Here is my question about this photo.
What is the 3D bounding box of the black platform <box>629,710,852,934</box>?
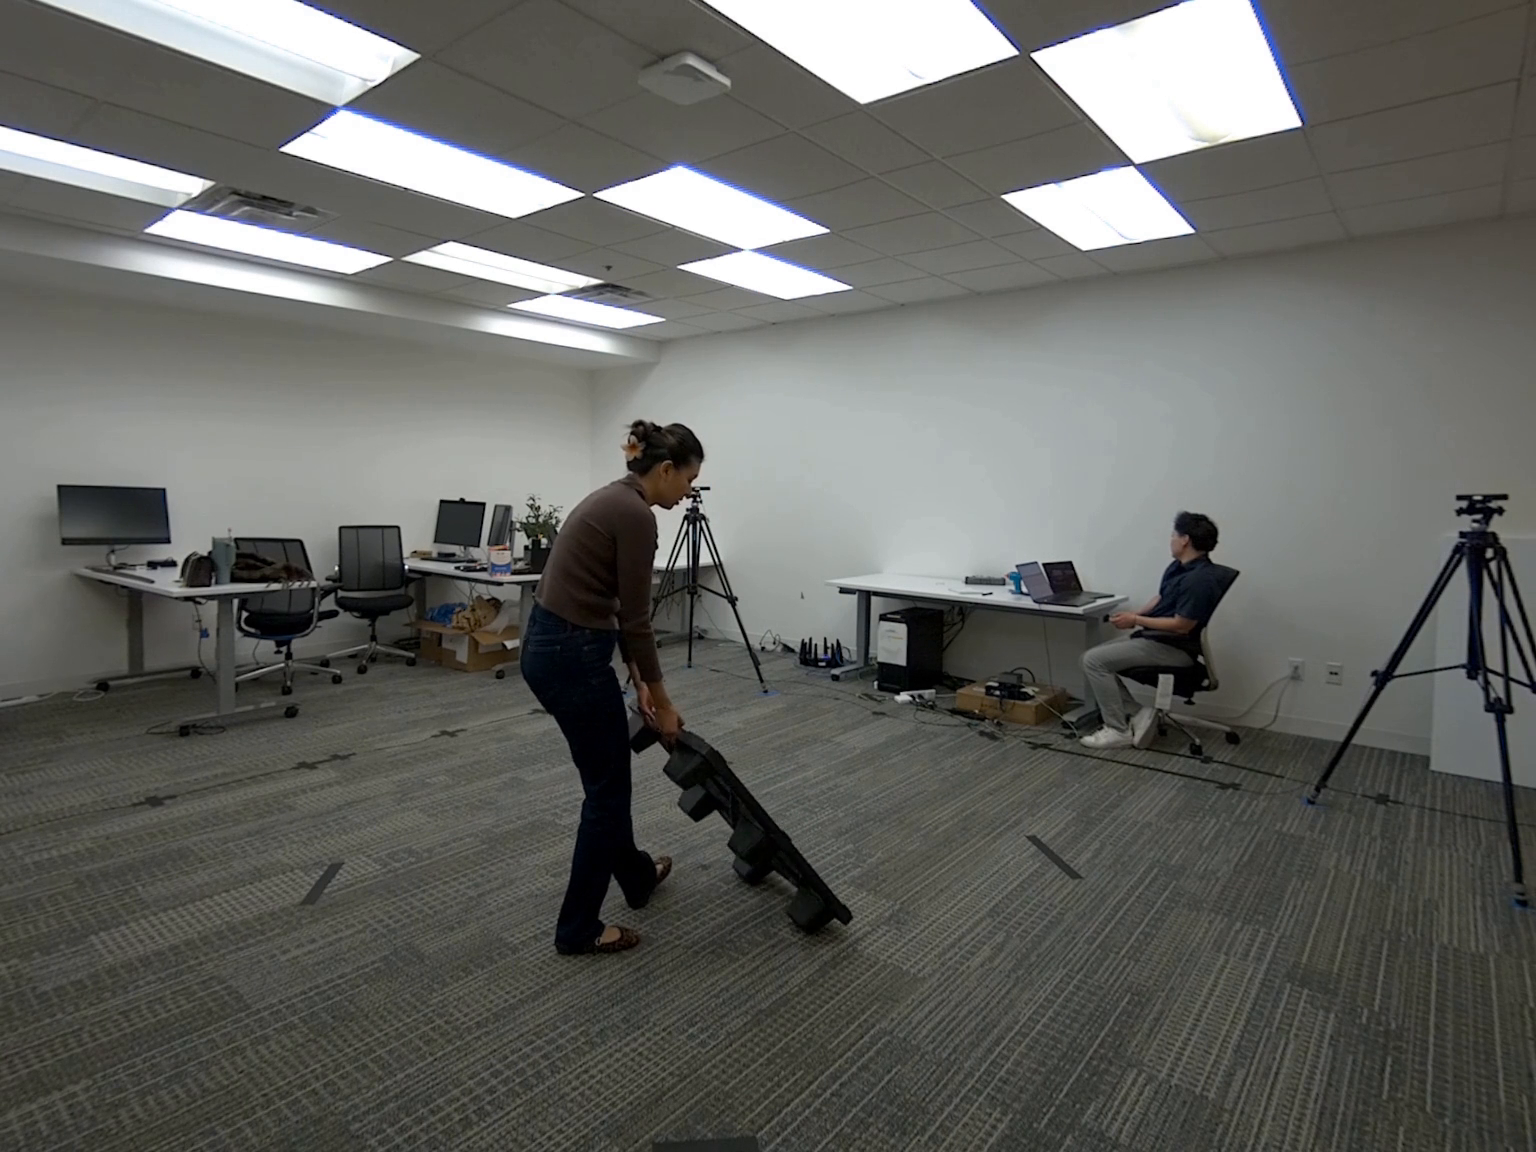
[{"bbox_3d":[-0.150,0.773,2.754,0.143,0.785,0.622,-43,21,-20],"label":"black platform"}]
